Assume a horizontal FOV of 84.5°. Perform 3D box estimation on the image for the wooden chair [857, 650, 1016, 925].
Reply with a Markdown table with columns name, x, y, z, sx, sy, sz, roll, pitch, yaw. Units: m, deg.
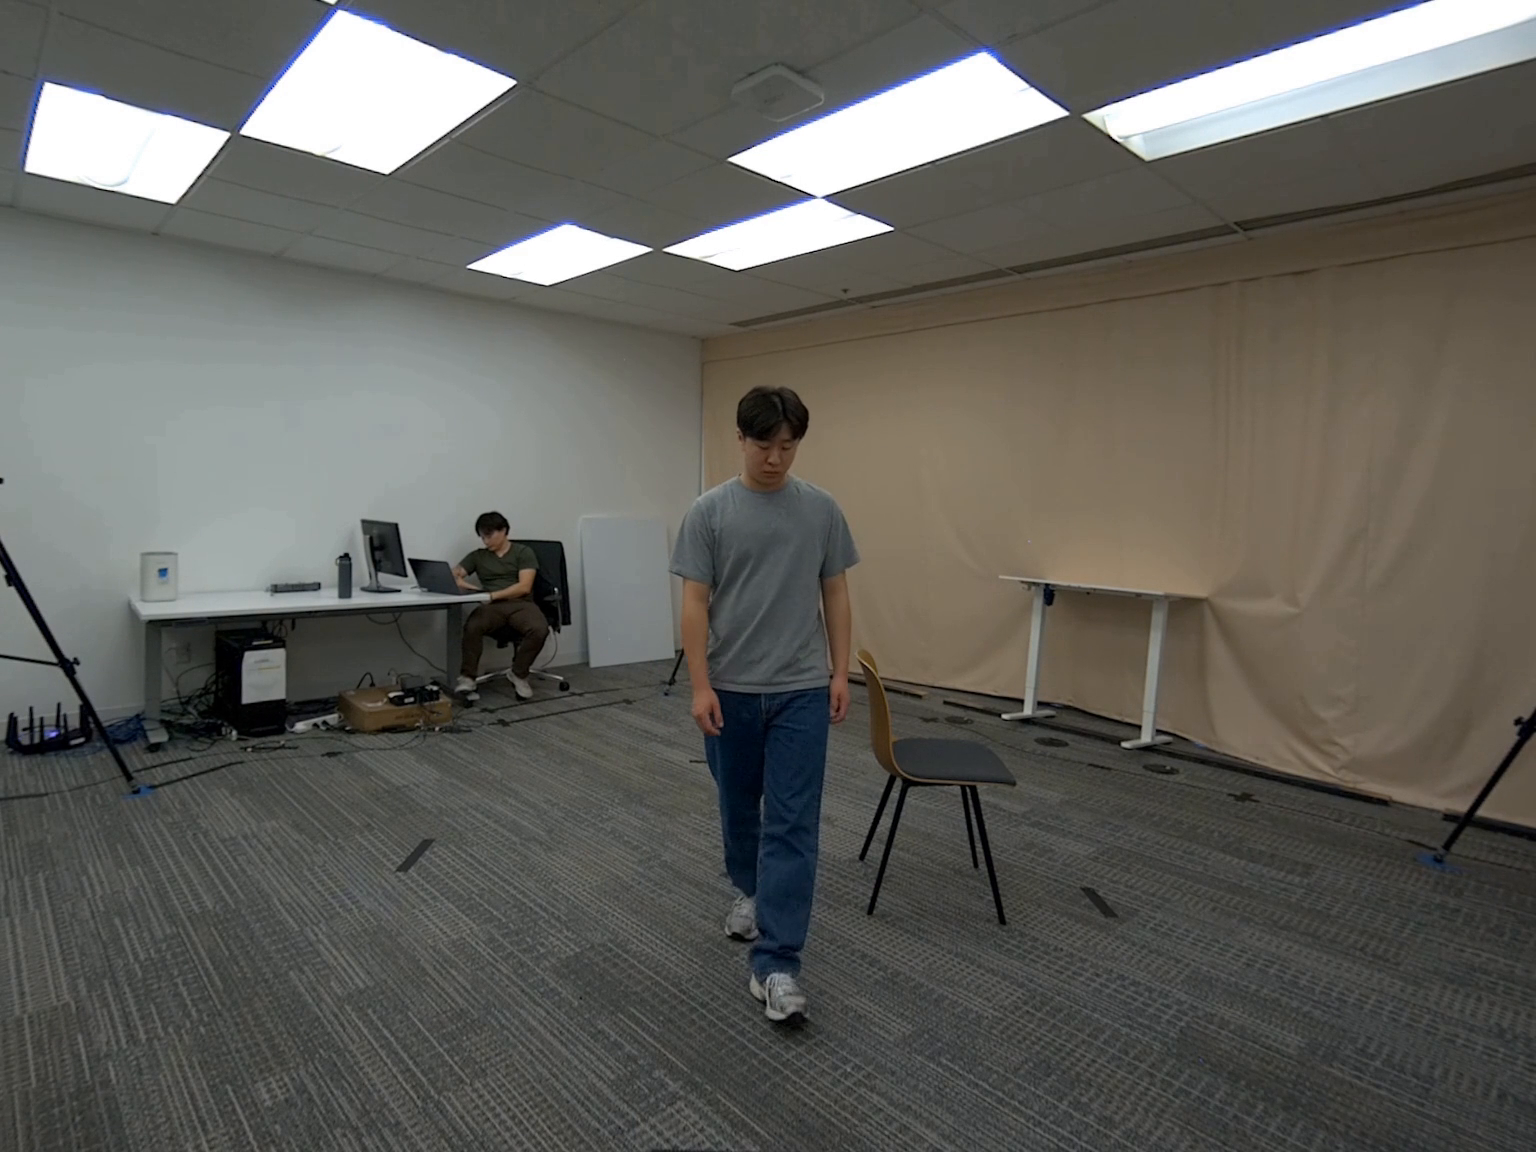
| name | x | y | z | sx | sy | sz | roll | pitch | yaw |
| --- | --- | --- | --- | --- | --- | --- | --- | --- | --- |
| wooden chair | 0.587 | 0.707 | 3.006 | 0.525 | 0.875 | 0.478 | -1 | 3 | 3 |
